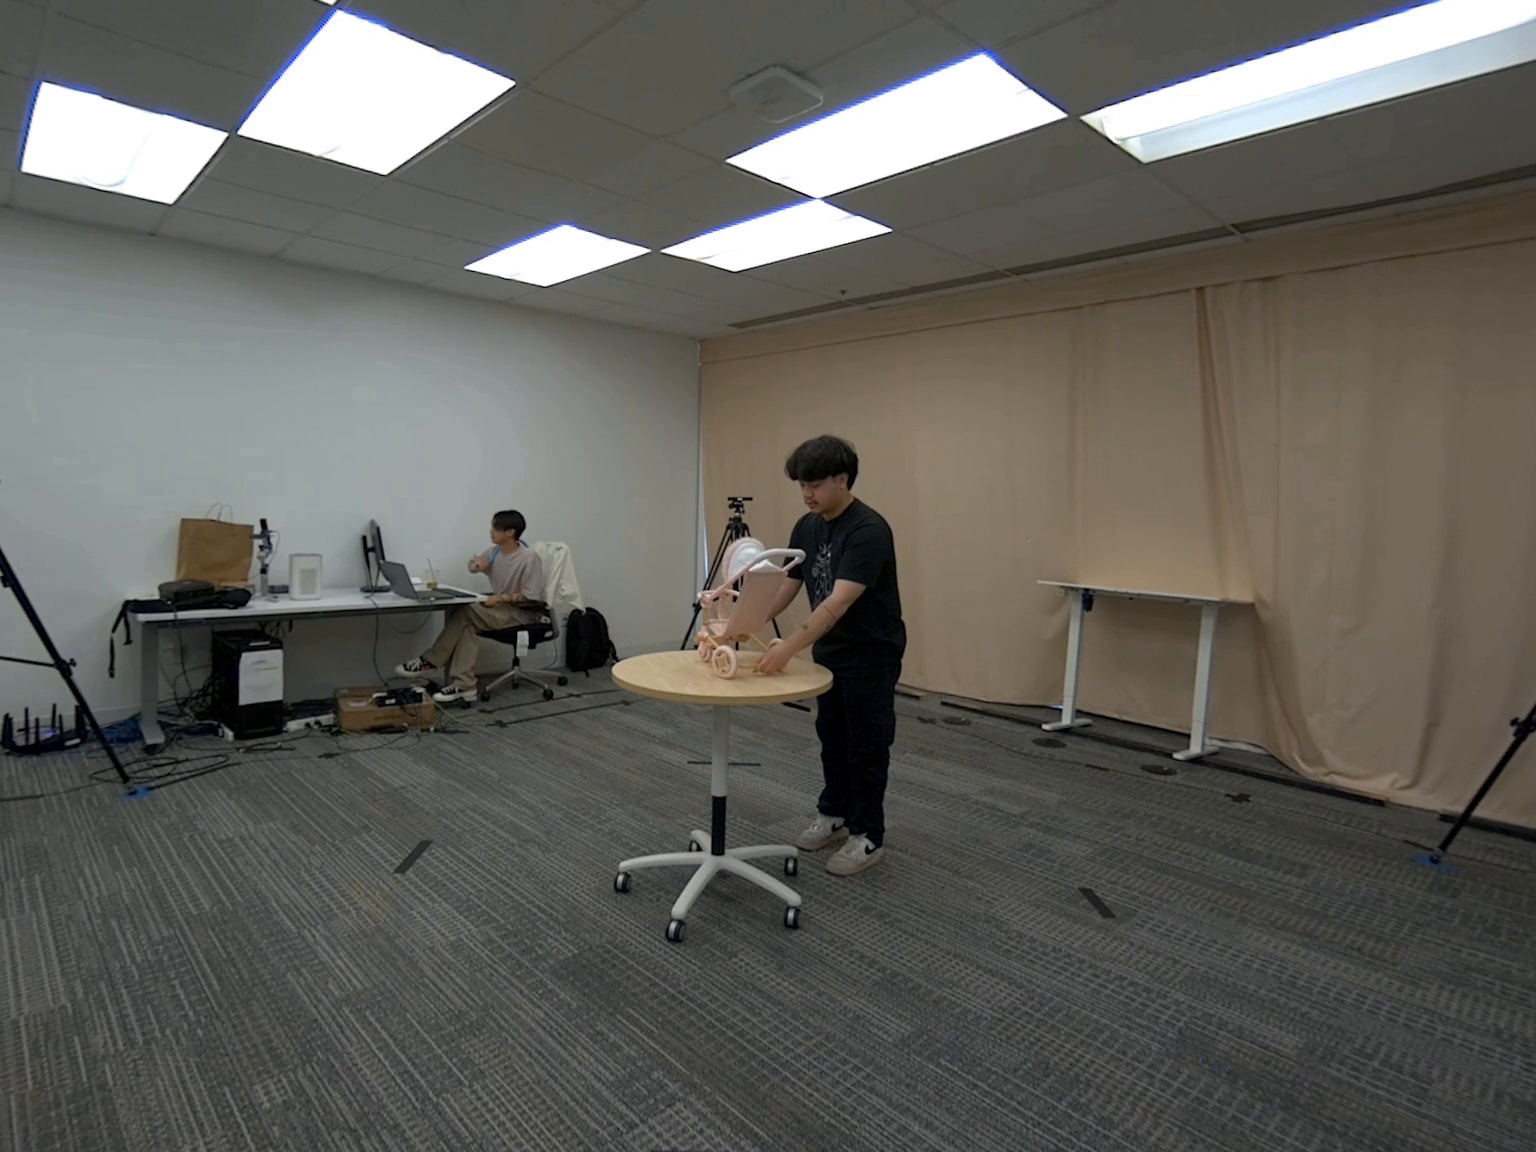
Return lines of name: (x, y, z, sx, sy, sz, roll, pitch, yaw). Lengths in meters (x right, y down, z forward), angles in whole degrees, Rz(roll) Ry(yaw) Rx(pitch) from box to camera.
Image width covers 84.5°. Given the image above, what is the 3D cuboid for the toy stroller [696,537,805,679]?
toy stroller: (-0.098, 0.107, 2.916, 0.275, 0.530, 0.352, 0, 20, -40)
